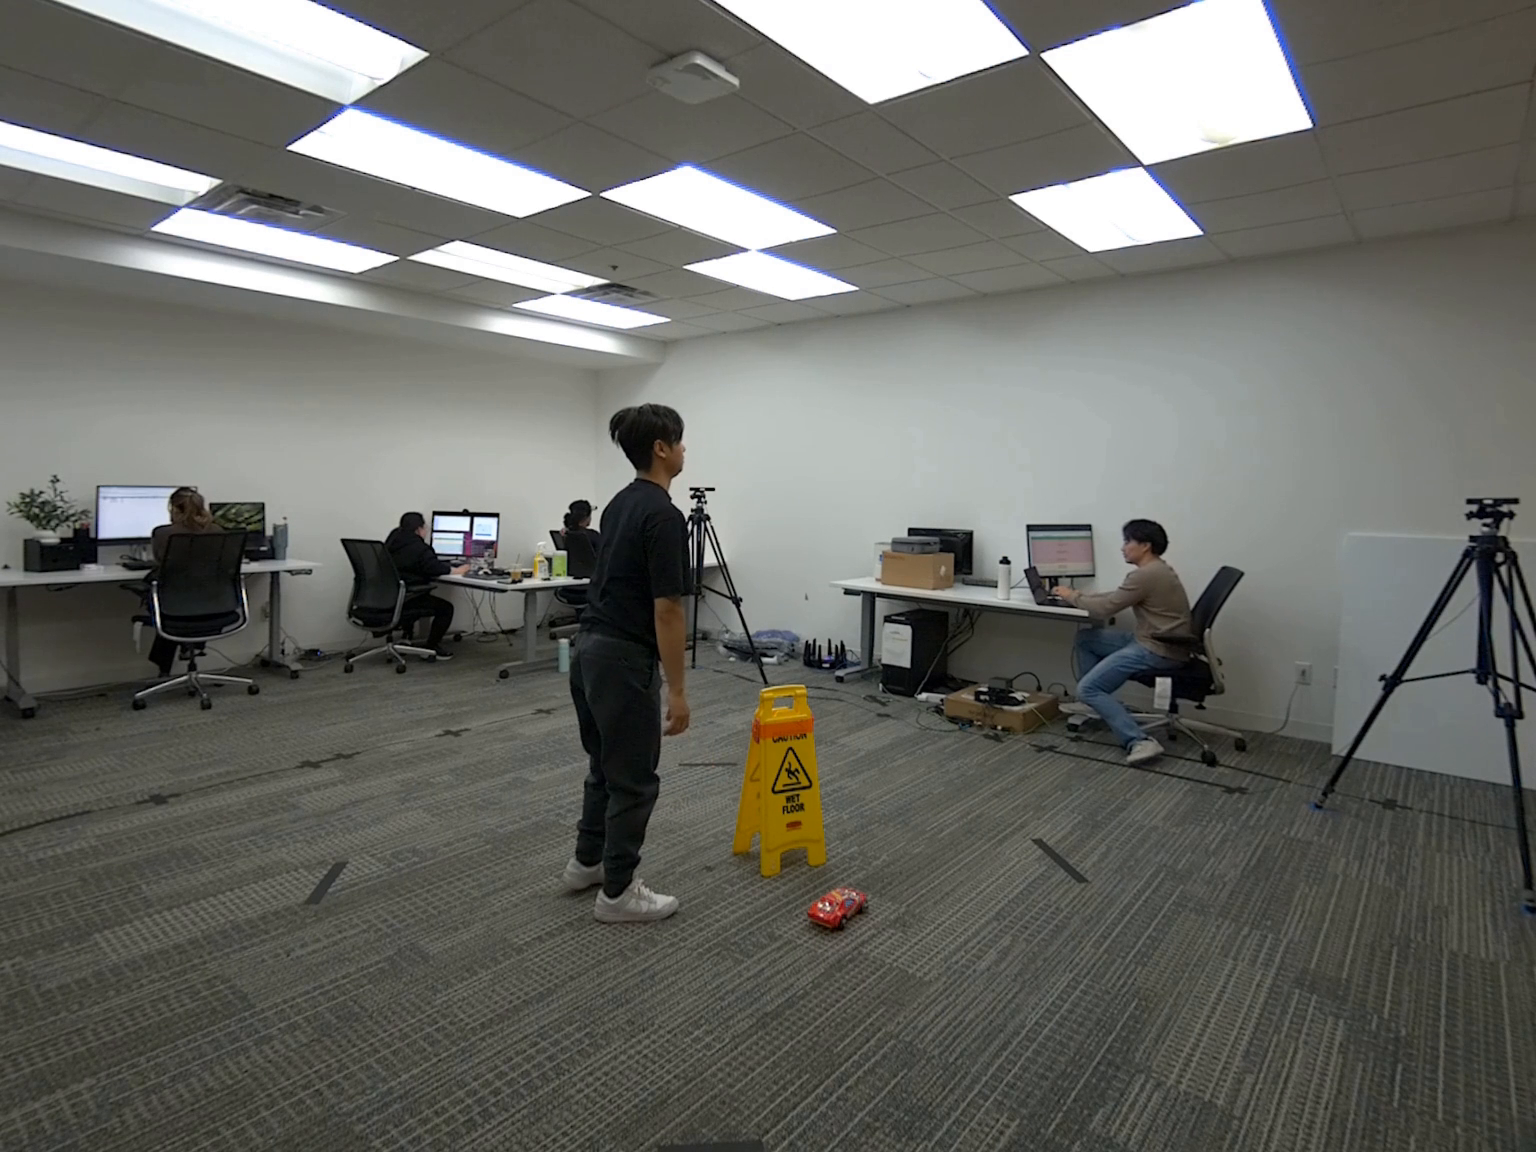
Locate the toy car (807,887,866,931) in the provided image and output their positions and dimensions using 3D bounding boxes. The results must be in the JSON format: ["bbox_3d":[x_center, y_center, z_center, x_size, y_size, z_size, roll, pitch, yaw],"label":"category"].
[{"bbox_3d":[0.216,1.081,2.763,0.135,0.083,0.245,7,-4,37],"label":"toy car"}]
